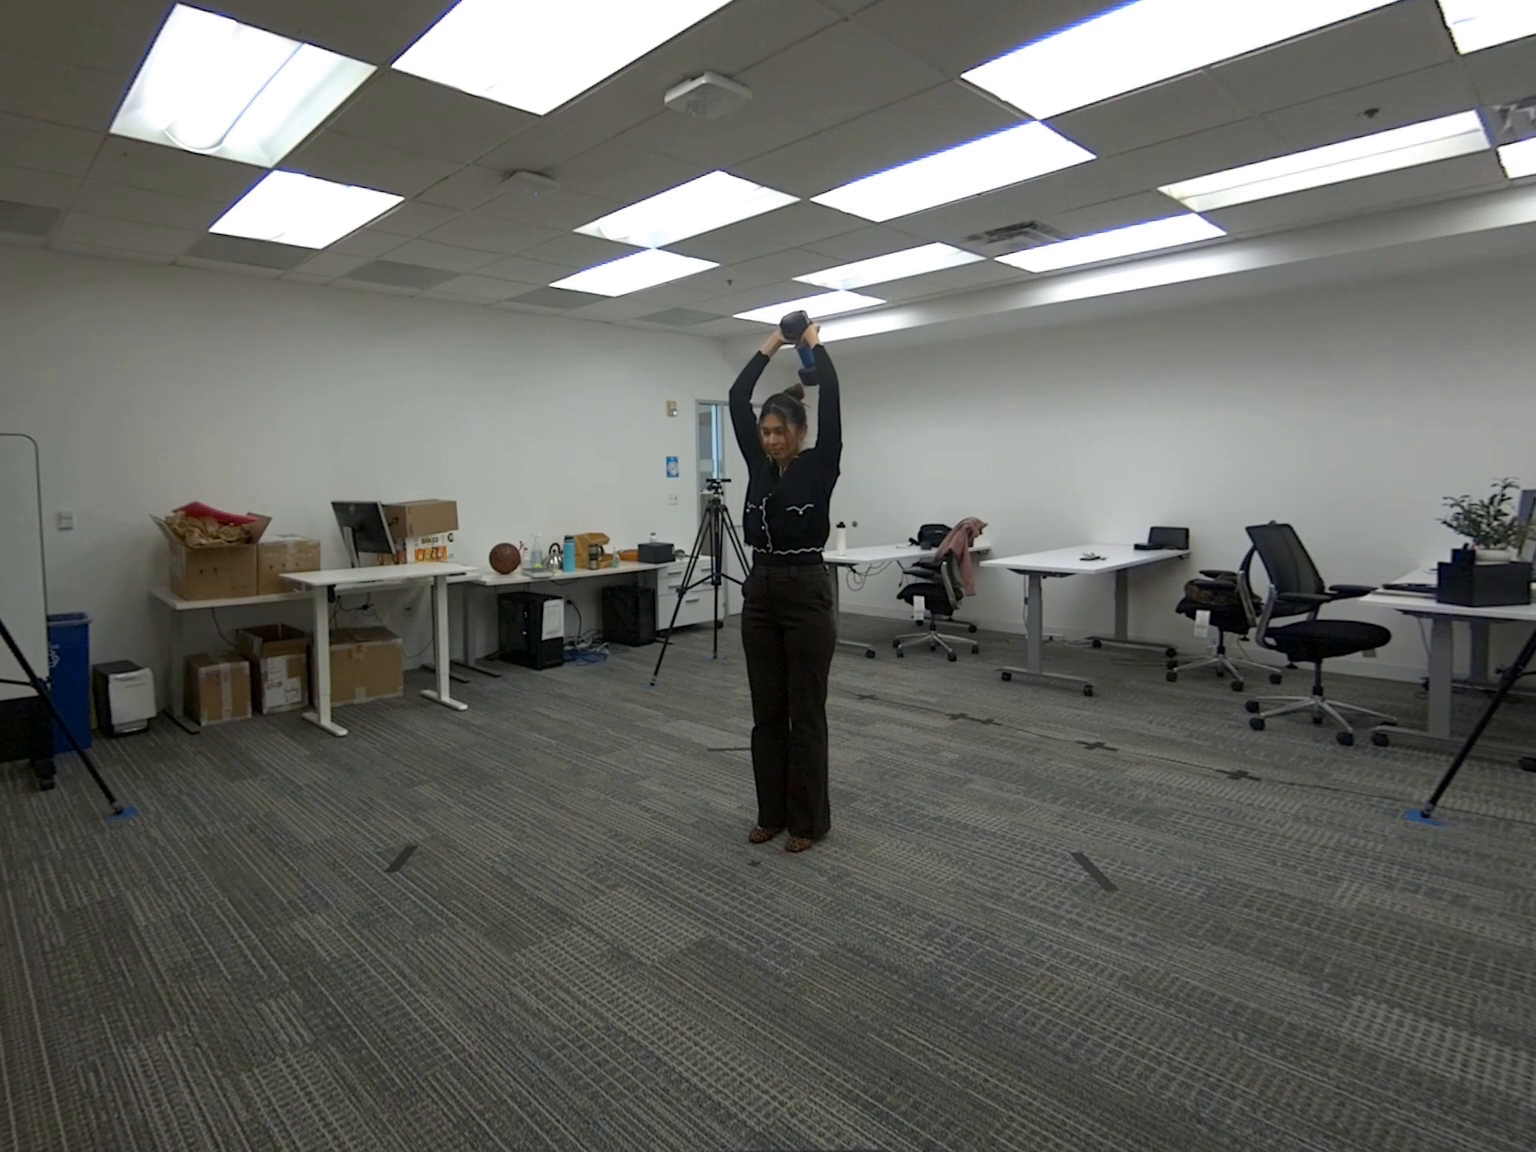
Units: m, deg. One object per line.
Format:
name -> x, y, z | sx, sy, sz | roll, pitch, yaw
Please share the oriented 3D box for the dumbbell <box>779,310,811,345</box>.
dumbbell -> 0.146, -0.896, 3.369 | 0.110, 0.285, 0.125 | -12, 29, 21
